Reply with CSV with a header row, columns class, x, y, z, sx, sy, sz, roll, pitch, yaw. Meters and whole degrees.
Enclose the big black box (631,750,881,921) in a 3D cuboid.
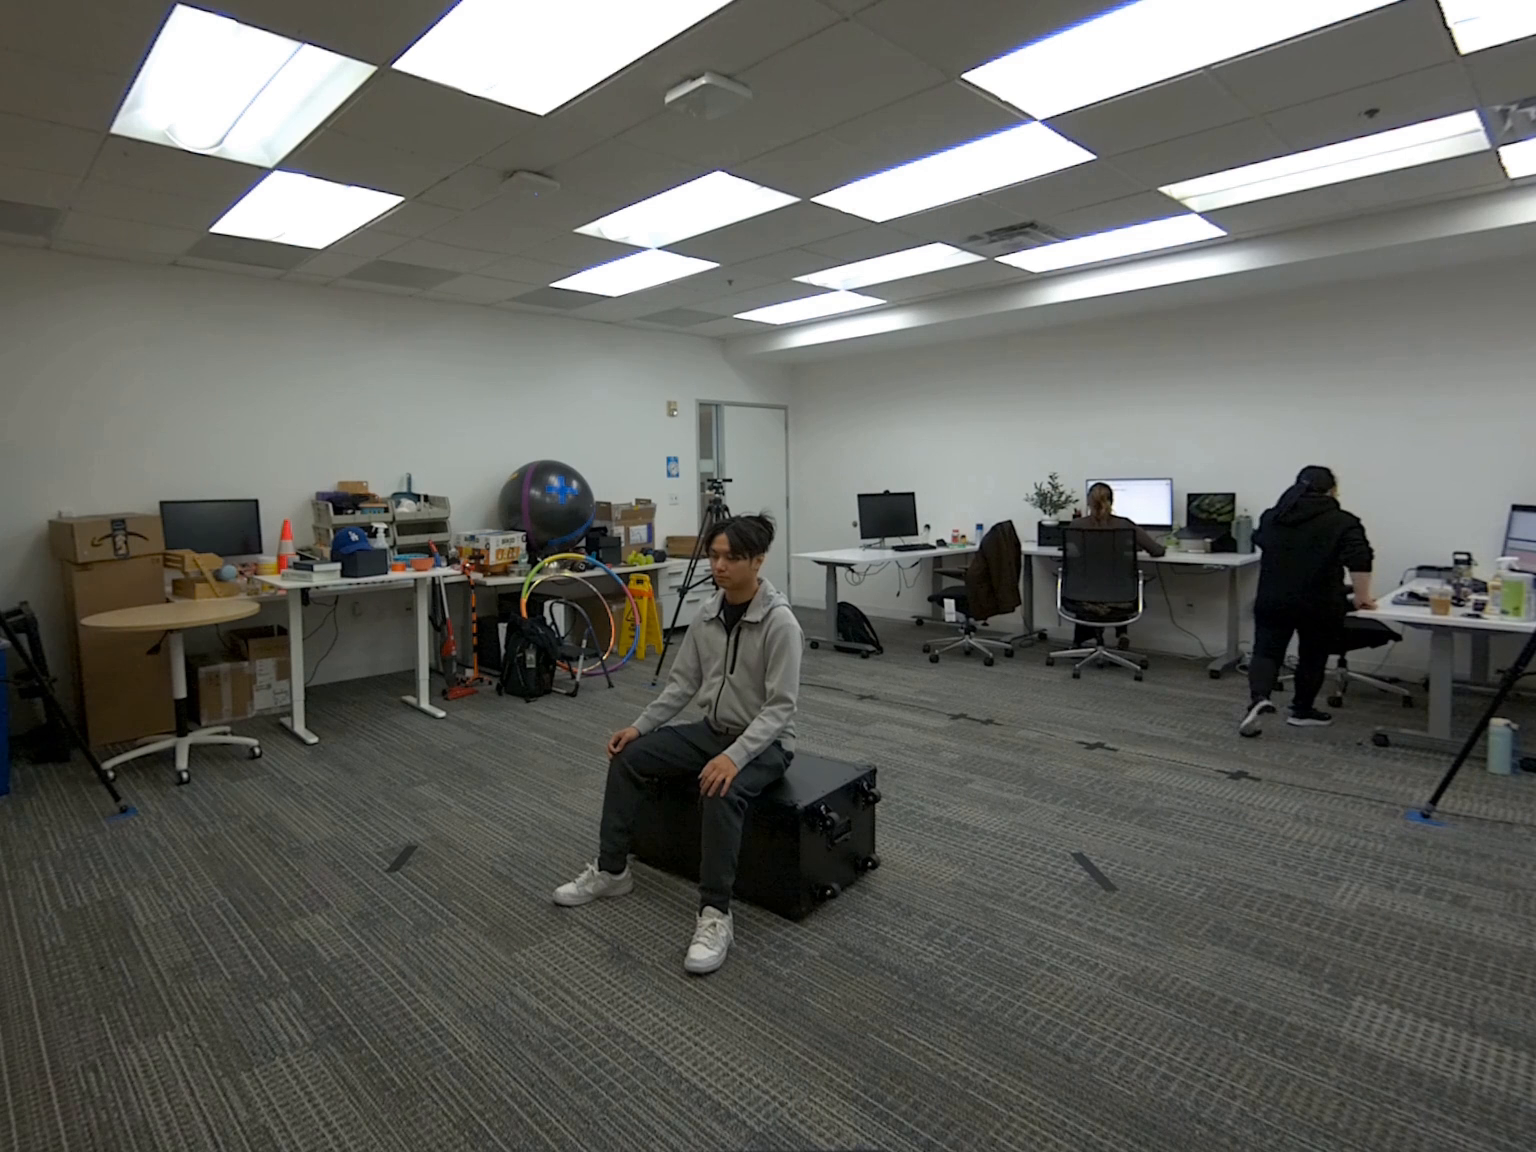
class,x,y,z,sx,sy,sz,roll,pitch,yaw
big black box,-0.090,0.861,3.114,0.887,0.395,0.508,4,7,38
